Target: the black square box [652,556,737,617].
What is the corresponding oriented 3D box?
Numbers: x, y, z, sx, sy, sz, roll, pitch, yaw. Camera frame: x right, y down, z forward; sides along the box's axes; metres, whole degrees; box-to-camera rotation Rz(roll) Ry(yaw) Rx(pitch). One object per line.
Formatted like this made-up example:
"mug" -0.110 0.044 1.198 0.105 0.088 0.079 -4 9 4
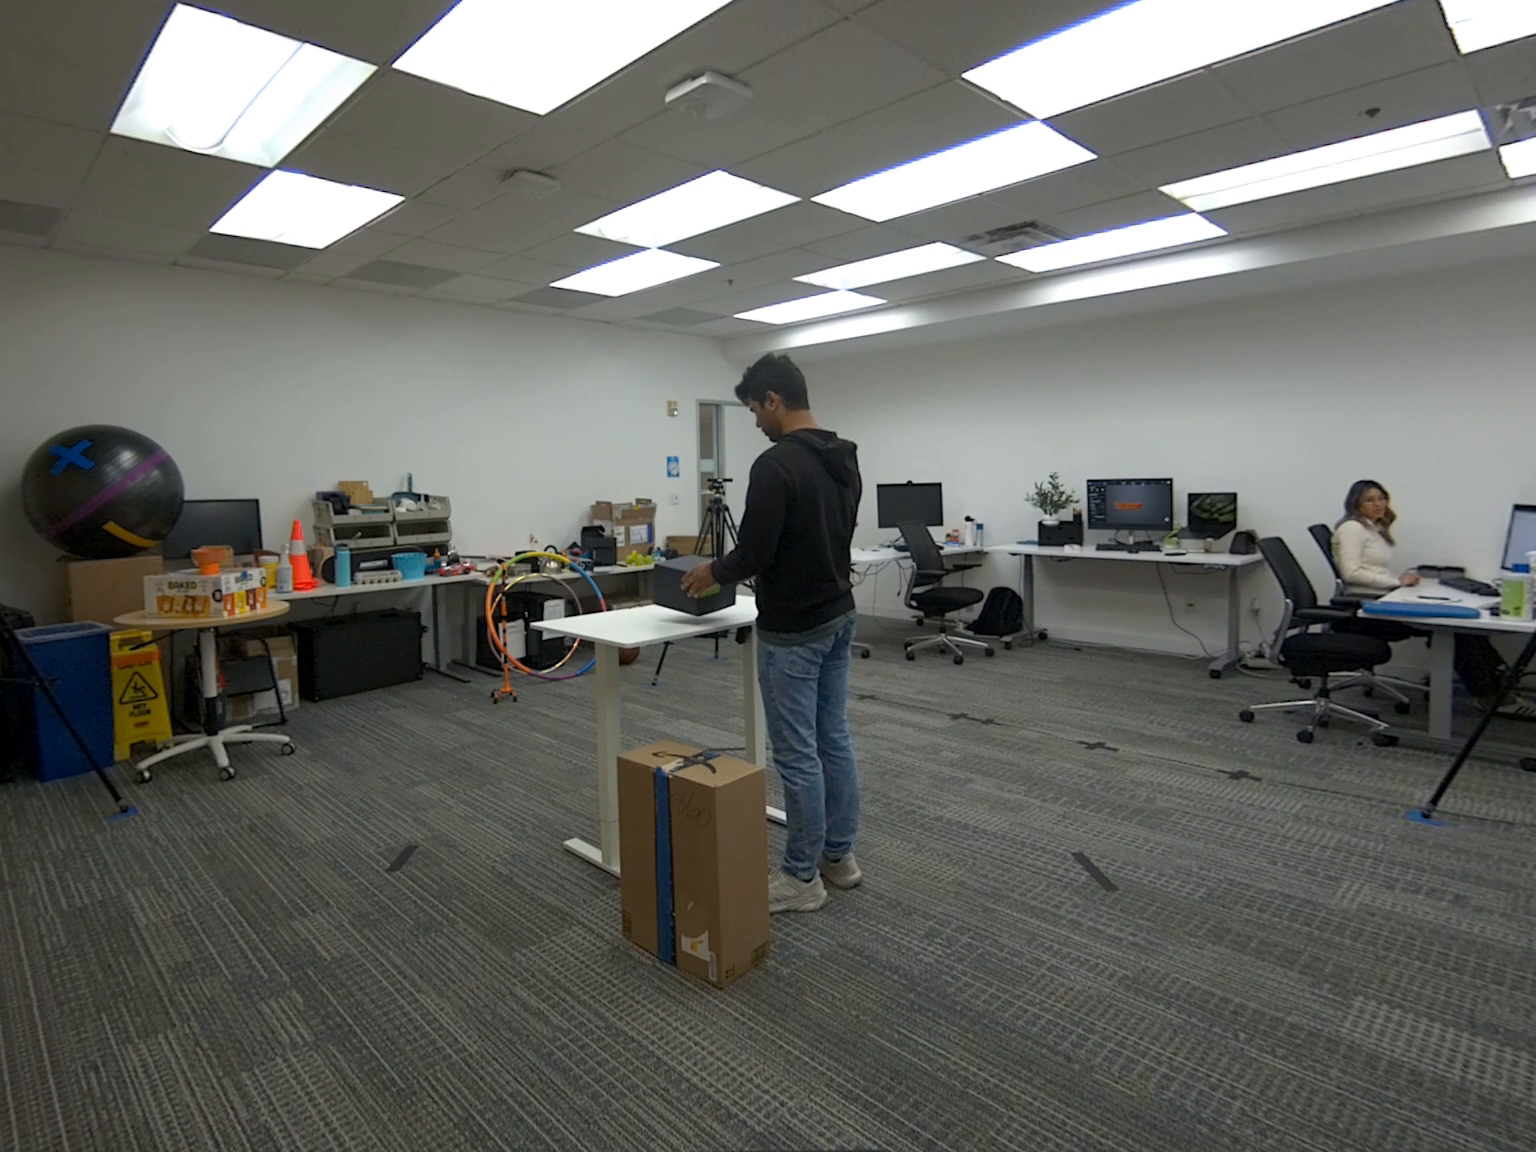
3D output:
"black square box" -0.264 0.034 3.120 0.224 0.154 0.223 11 15 33
